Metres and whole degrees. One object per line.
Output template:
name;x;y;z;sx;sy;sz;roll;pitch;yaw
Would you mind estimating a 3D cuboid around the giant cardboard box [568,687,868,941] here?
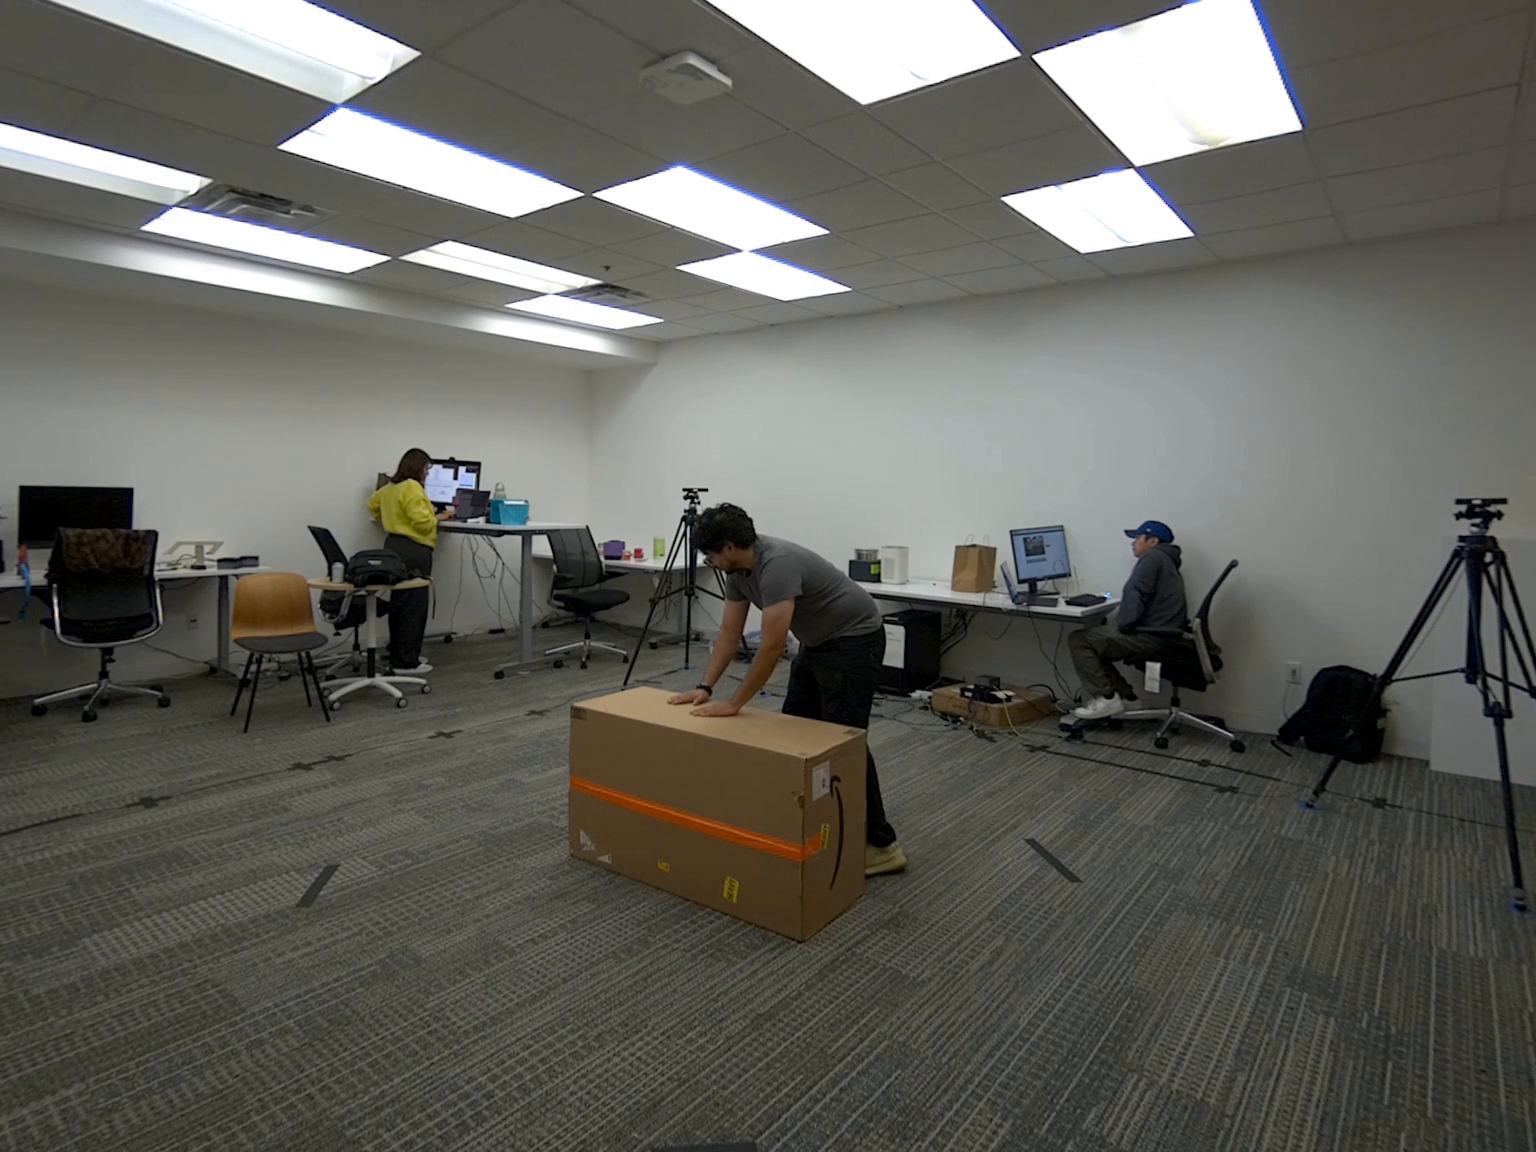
giant cardboard box;-0.218;0.786;3.053;1.059;0.576;0.414;4;4;35
